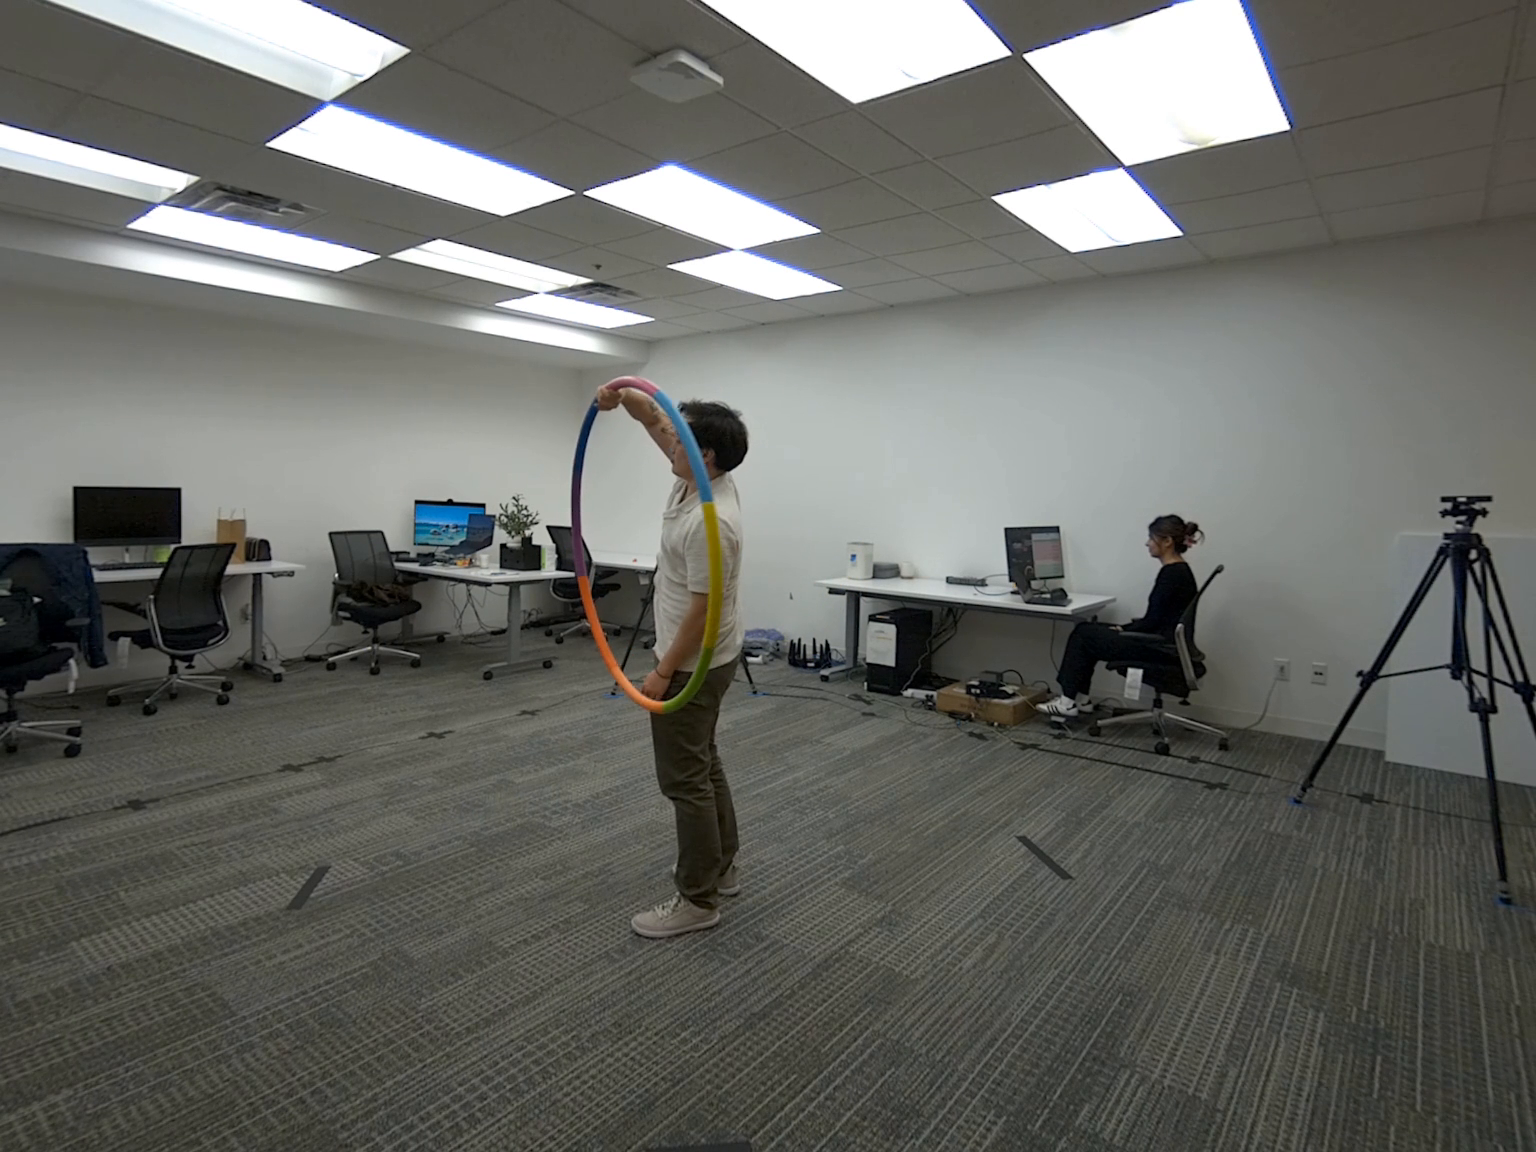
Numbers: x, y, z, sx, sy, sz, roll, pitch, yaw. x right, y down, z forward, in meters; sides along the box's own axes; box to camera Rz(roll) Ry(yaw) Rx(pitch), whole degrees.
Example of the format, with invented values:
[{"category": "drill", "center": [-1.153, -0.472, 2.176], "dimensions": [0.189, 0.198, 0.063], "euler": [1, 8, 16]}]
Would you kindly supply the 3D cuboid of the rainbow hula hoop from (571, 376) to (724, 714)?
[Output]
[{"category": "rainbow hula hoop", "center": [-0.405, -0.094, 2.534], "dimensions": [0.034, 0.973, 1.010], "euler": [-6, 7, -33]}]
